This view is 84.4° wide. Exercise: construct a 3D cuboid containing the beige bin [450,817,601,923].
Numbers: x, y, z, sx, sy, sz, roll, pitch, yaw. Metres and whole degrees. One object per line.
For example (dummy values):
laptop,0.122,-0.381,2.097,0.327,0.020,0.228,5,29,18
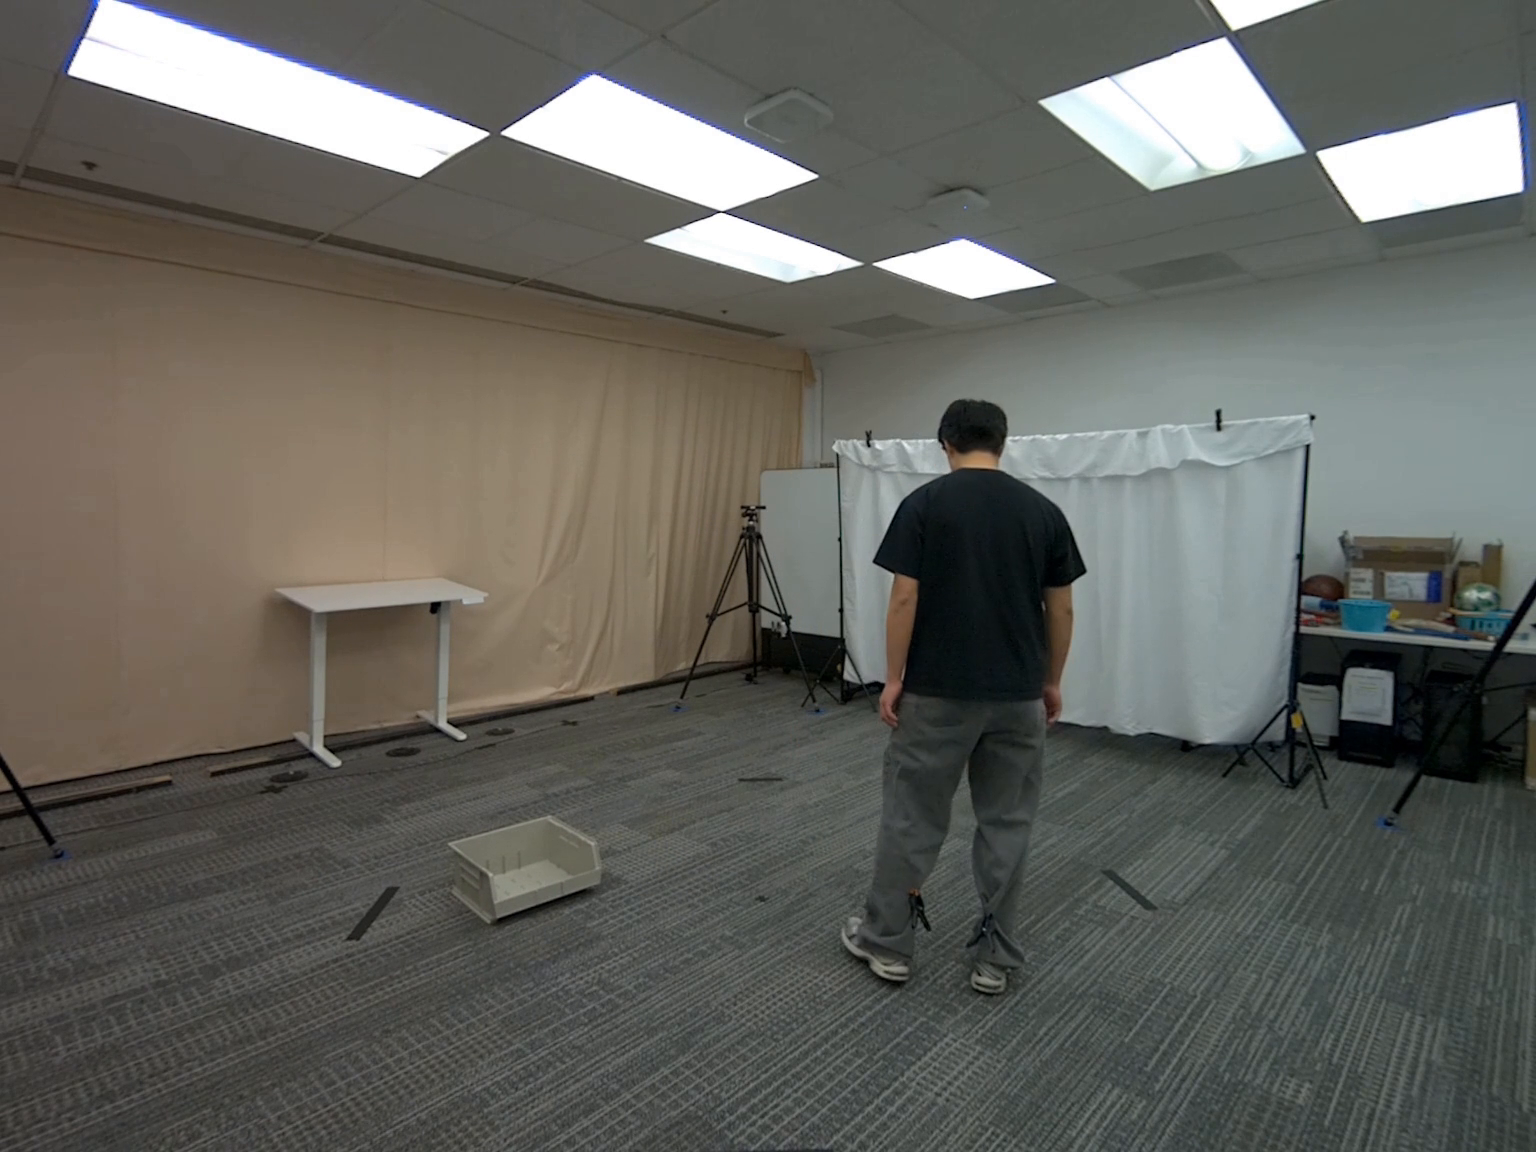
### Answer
beige bin,-0.879,1.058,3.045,0.410,0.188,0.390,-5,5,-41
